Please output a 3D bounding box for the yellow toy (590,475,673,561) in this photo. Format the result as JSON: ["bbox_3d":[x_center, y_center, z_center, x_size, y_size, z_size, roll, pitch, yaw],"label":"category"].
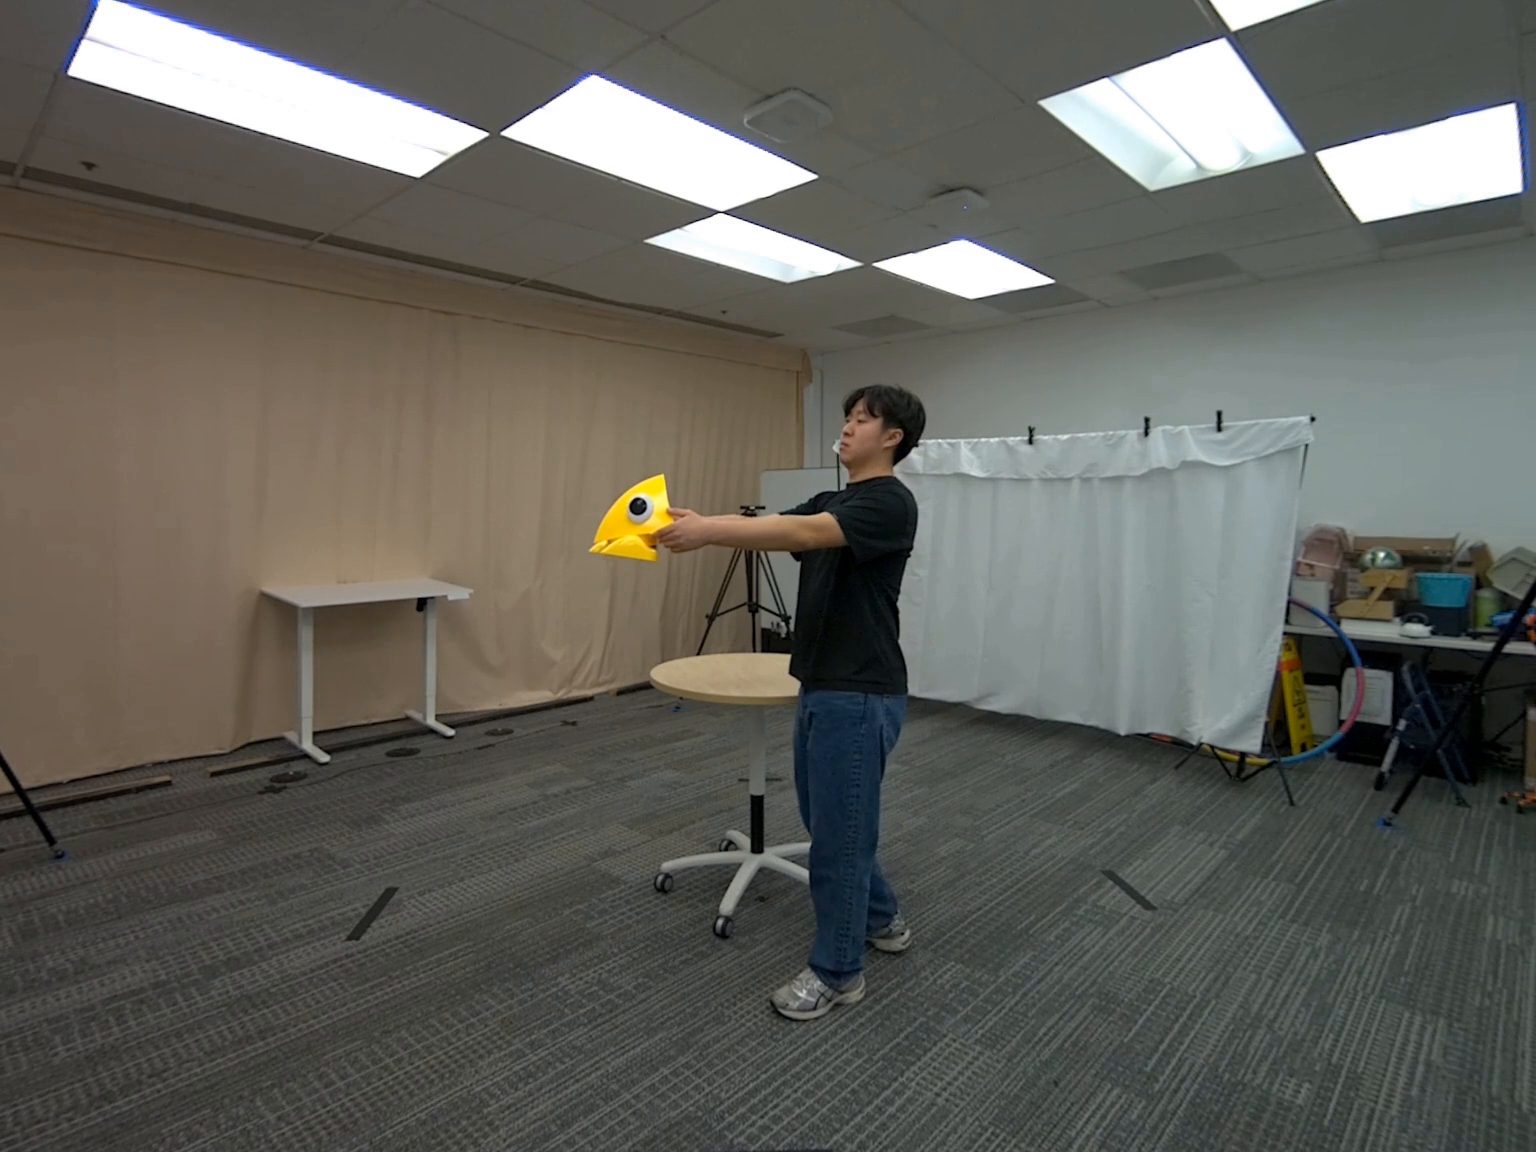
[{"bbox_3d":[-0.340,-0.159,2.190,0.188,0.231,0.209,9,-2,-22],"label":"yellow toy"}]
